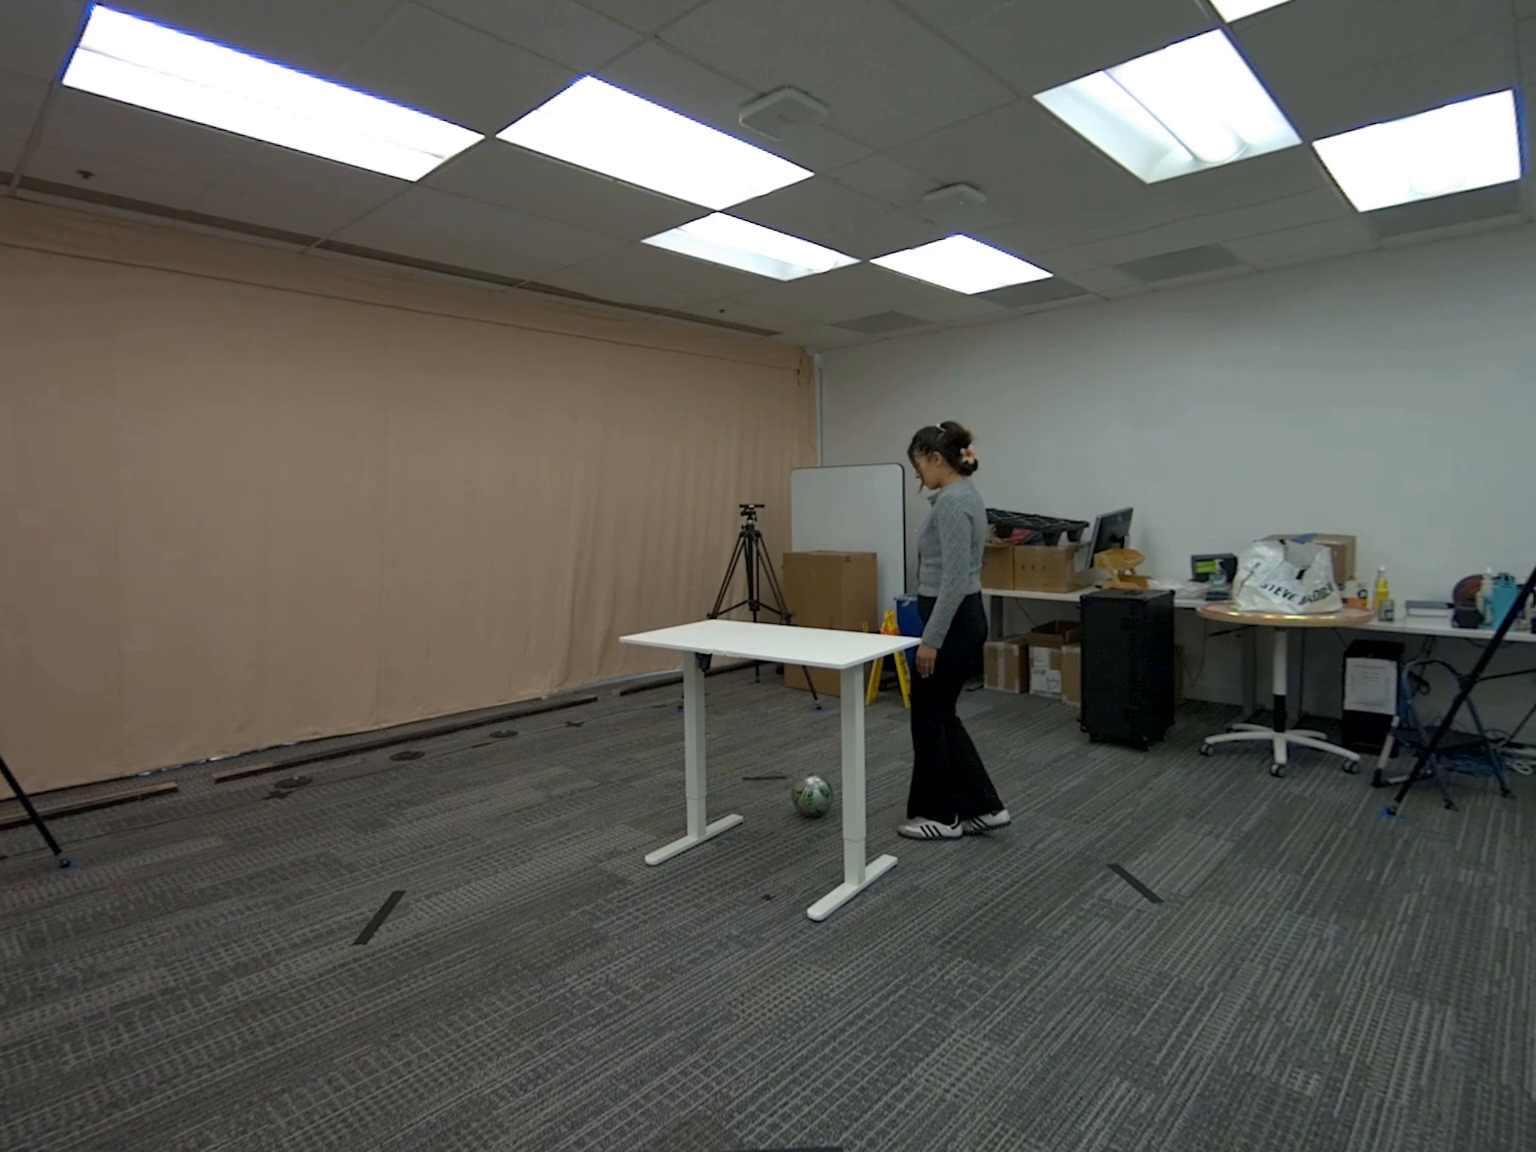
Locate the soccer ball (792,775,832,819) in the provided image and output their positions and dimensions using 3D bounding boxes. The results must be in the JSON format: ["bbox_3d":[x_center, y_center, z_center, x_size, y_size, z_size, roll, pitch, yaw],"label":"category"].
[{"bbox_3d":[0.198,0.978,3.768,0.187,0.187,0.188,-1,4,-2],"label":"soccer ball"}]
